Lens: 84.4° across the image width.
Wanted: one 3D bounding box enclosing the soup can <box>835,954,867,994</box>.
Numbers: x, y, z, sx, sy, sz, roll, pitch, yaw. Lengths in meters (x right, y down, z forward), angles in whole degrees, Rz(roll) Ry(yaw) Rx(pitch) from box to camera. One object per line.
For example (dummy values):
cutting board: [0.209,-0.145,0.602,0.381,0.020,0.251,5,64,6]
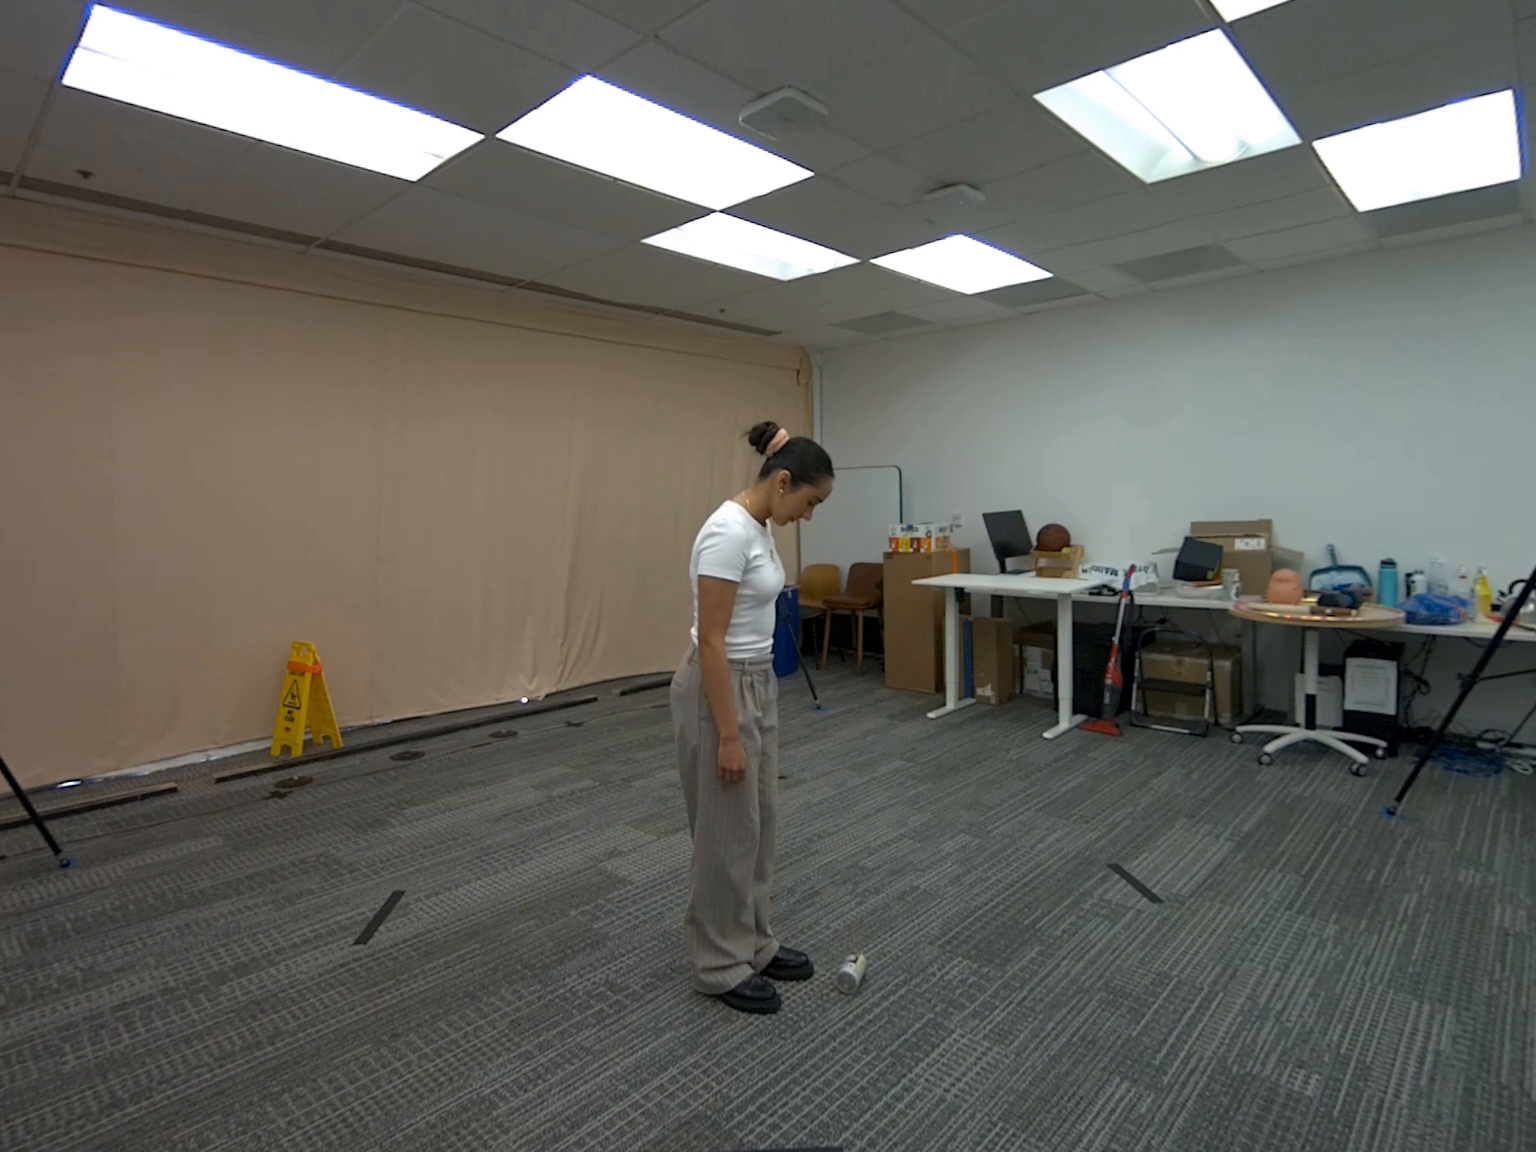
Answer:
soup can: [0.242,1.138,2.418,0.068,0.067,0.119,0,-4,17]
